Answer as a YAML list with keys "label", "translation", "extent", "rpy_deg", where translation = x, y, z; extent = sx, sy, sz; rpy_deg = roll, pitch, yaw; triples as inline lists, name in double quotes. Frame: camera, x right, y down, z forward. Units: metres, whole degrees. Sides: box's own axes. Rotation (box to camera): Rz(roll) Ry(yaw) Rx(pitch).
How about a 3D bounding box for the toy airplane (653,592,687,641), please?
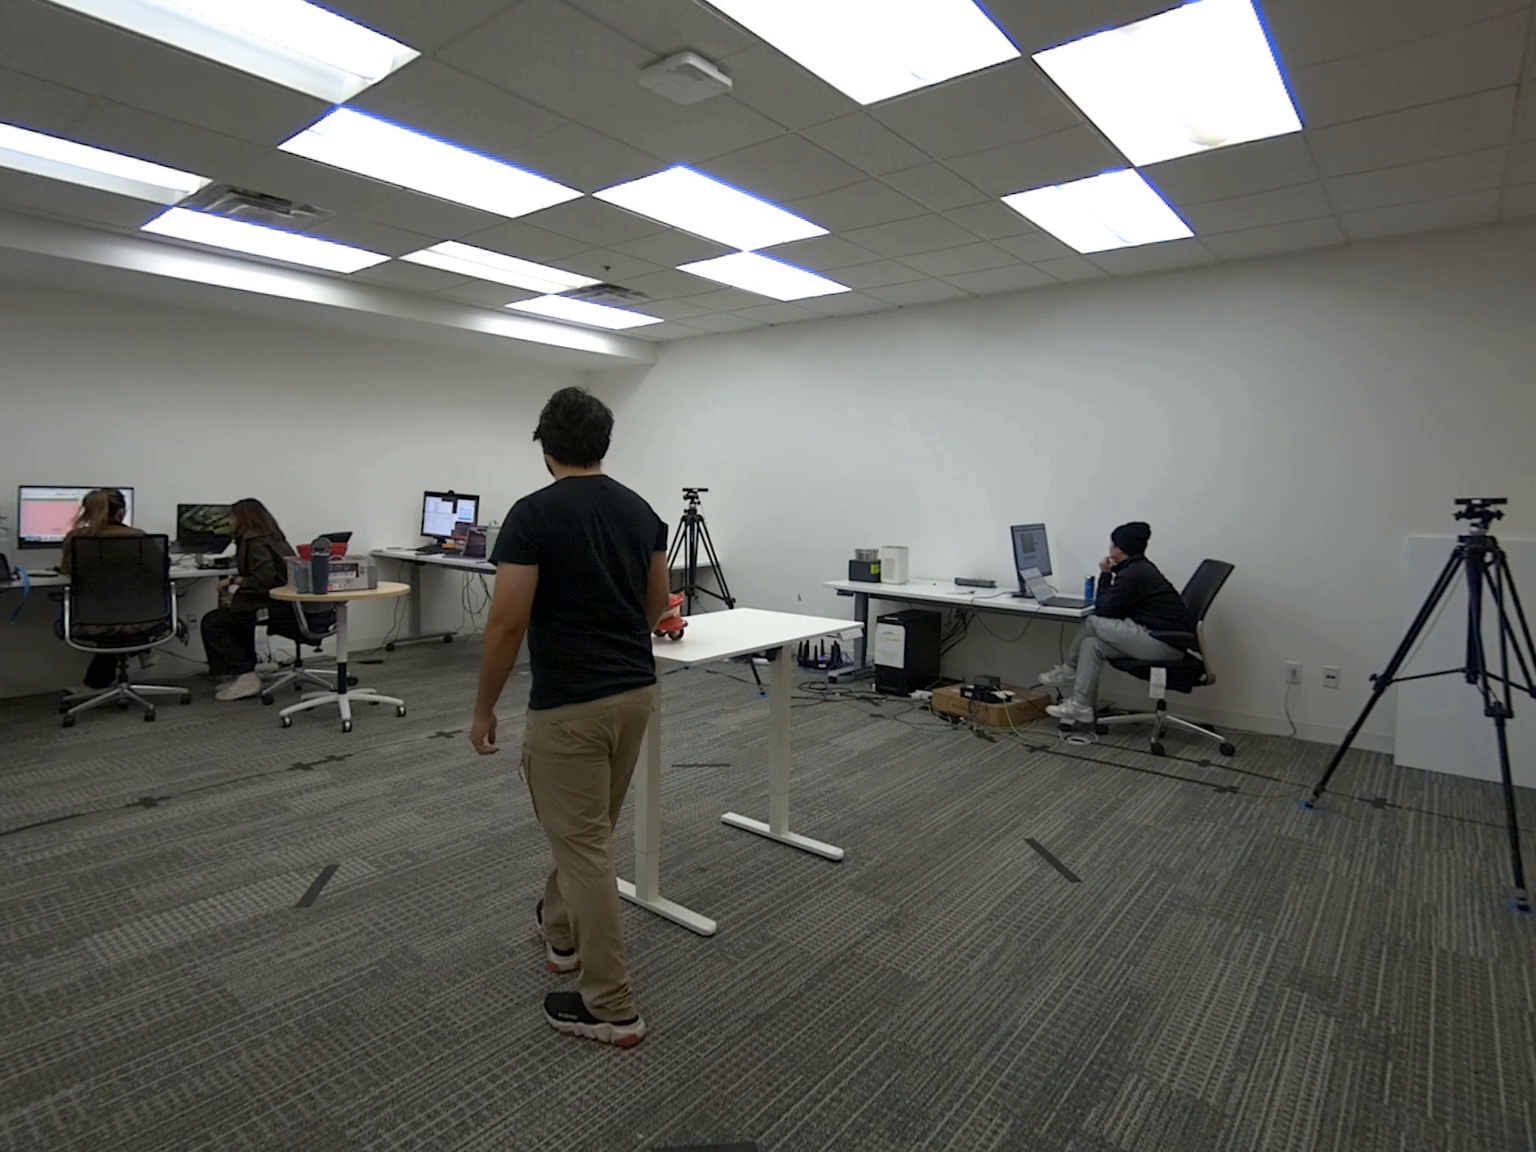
- label: "toy airplane"
  translation: [-0.392, 0.138, 2.816]
  extent: [0.256, 0.156, 0.254]
  rpy_deg: [1, 3, 19]
